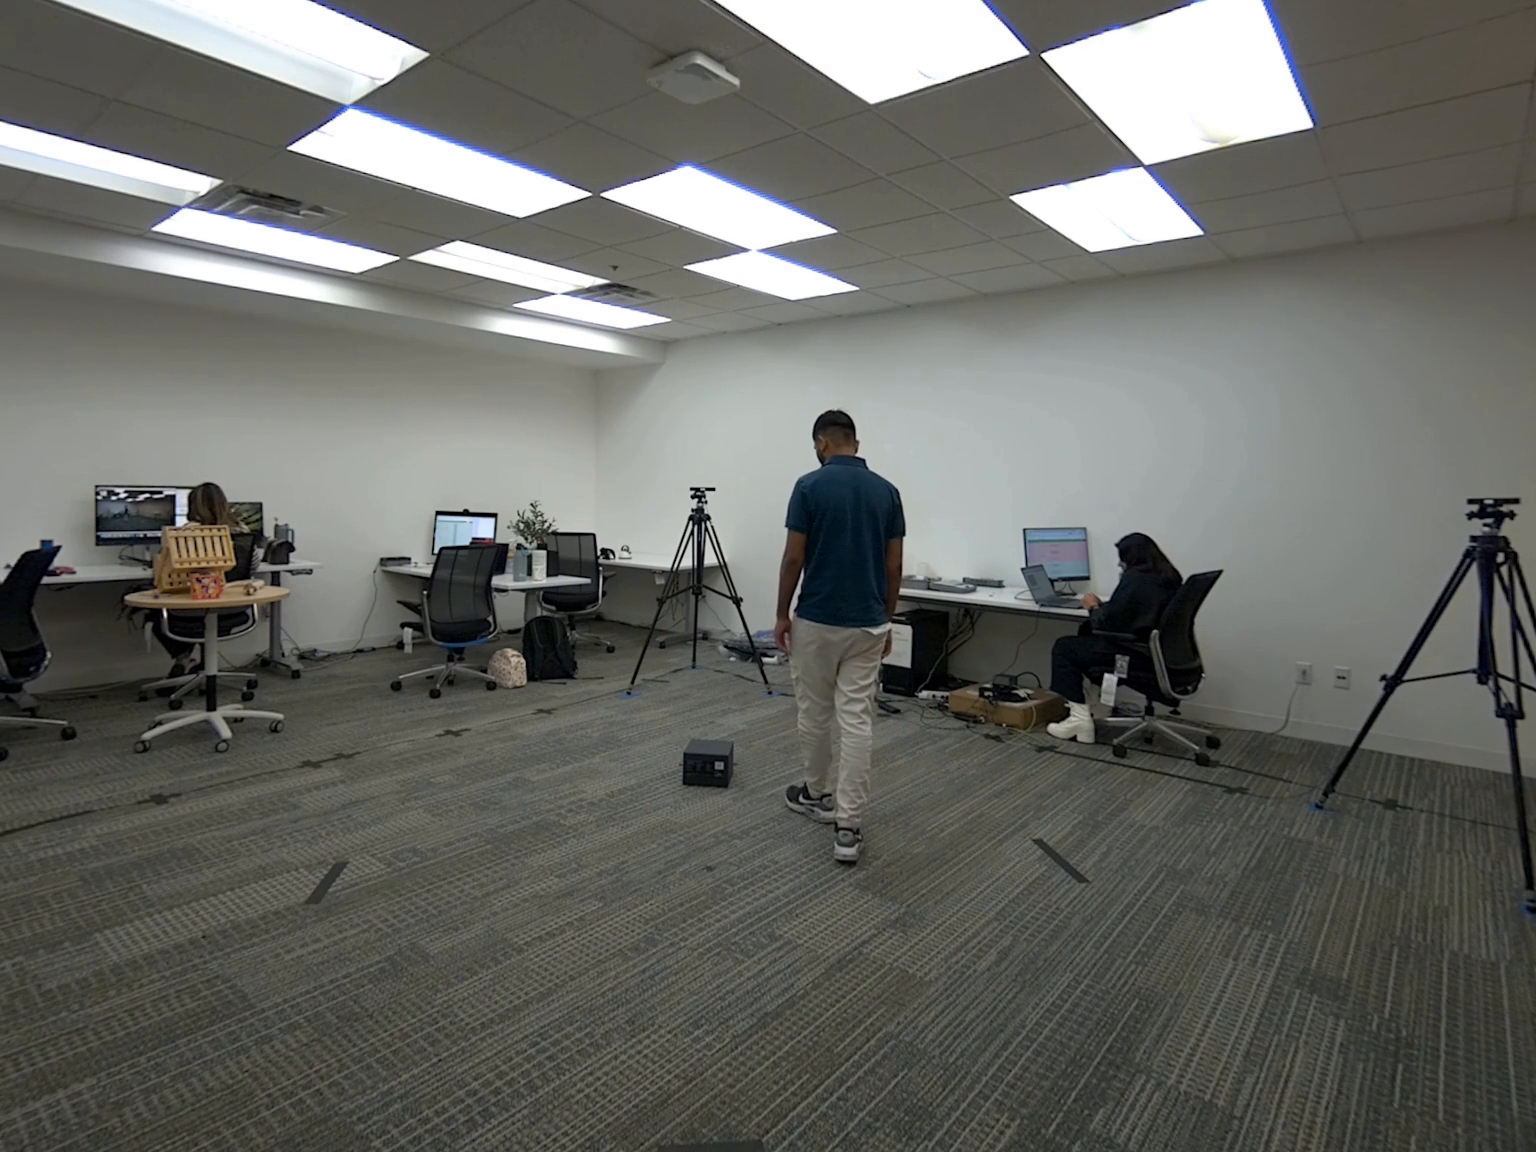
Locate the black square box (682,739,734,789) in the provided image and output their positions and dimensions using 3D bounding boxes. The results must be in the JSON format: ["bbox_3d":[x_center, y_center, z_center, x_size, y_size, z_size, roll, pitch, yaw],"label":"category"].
[{"bbox_3d":[-0.293,0.885,4.078,0.218,0.155,0.227,2,5,5],"label":"black square box"}]
